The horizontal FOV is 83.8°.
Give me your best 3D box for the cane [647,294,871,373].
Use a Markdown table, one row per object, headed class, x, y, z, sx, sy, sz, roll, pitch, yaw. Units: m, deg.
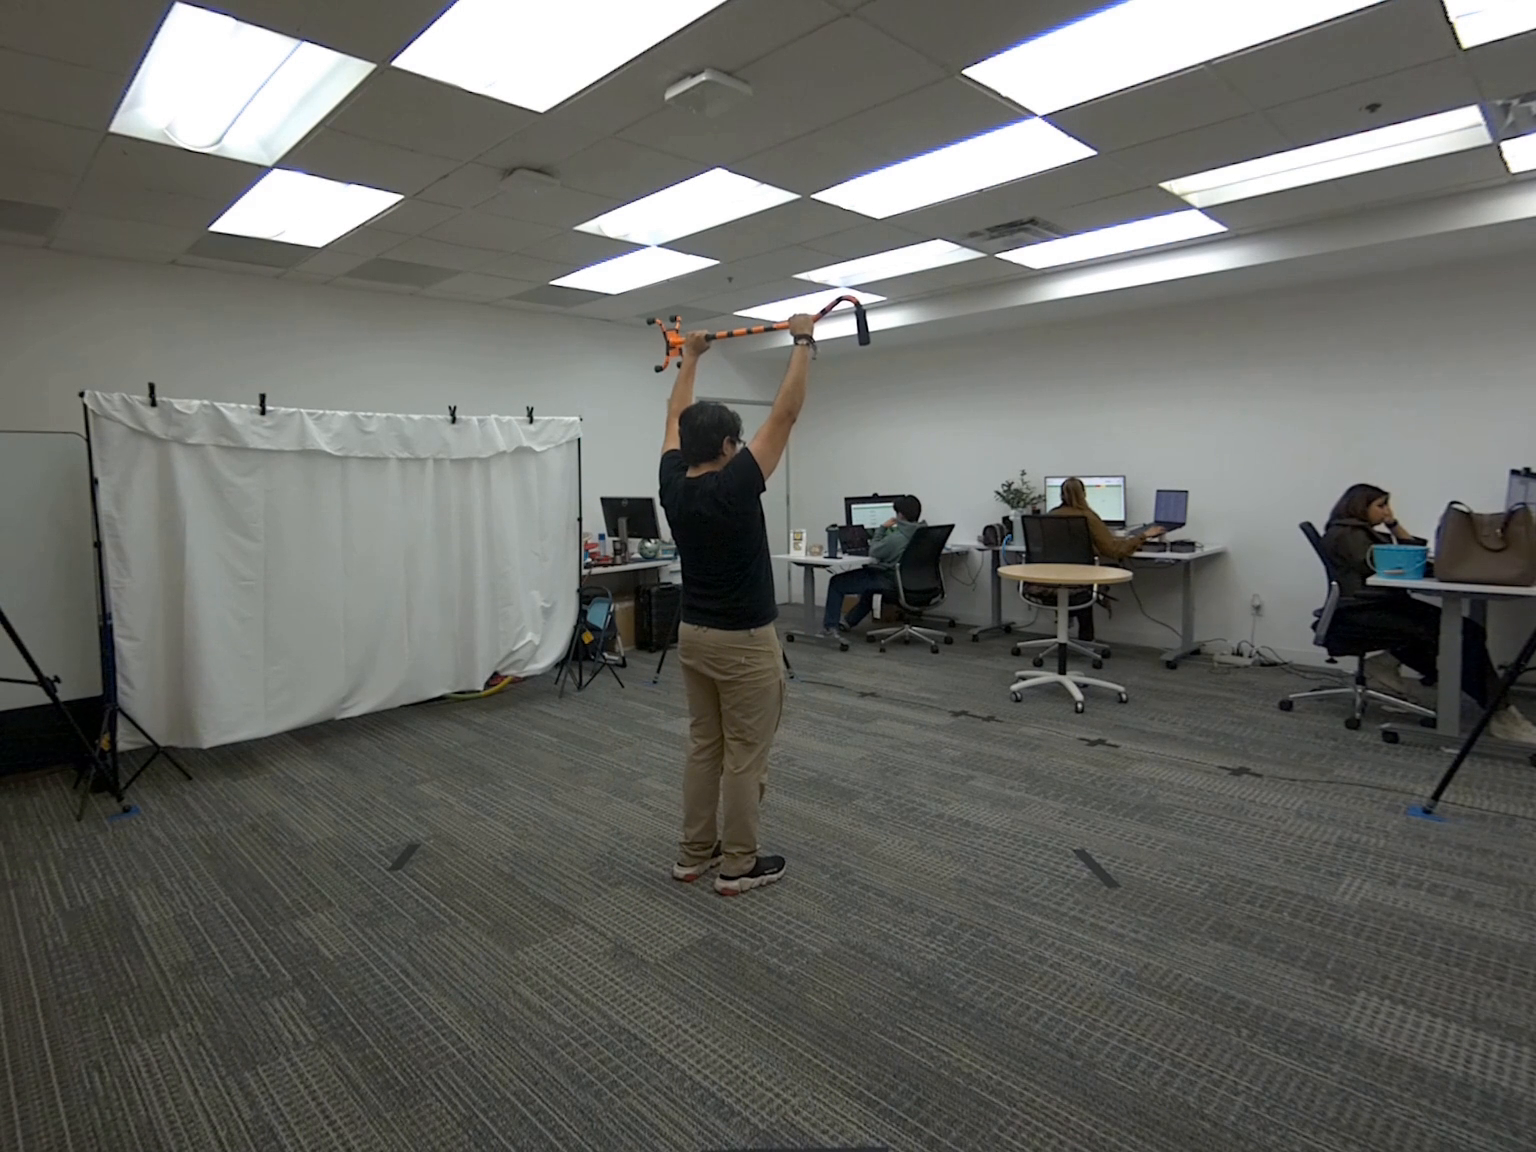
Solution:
| class | x | y | z | sx | sy | sz | roll | pitch | yaw |
| --- | --- | --- | --- | --- | --- | --- | --- | --- | --- |
| cane | -0.045 | -0.854 | 2.956 | 0.936 | 0.203 | 0.149 | 5 | 22 | 41 |
